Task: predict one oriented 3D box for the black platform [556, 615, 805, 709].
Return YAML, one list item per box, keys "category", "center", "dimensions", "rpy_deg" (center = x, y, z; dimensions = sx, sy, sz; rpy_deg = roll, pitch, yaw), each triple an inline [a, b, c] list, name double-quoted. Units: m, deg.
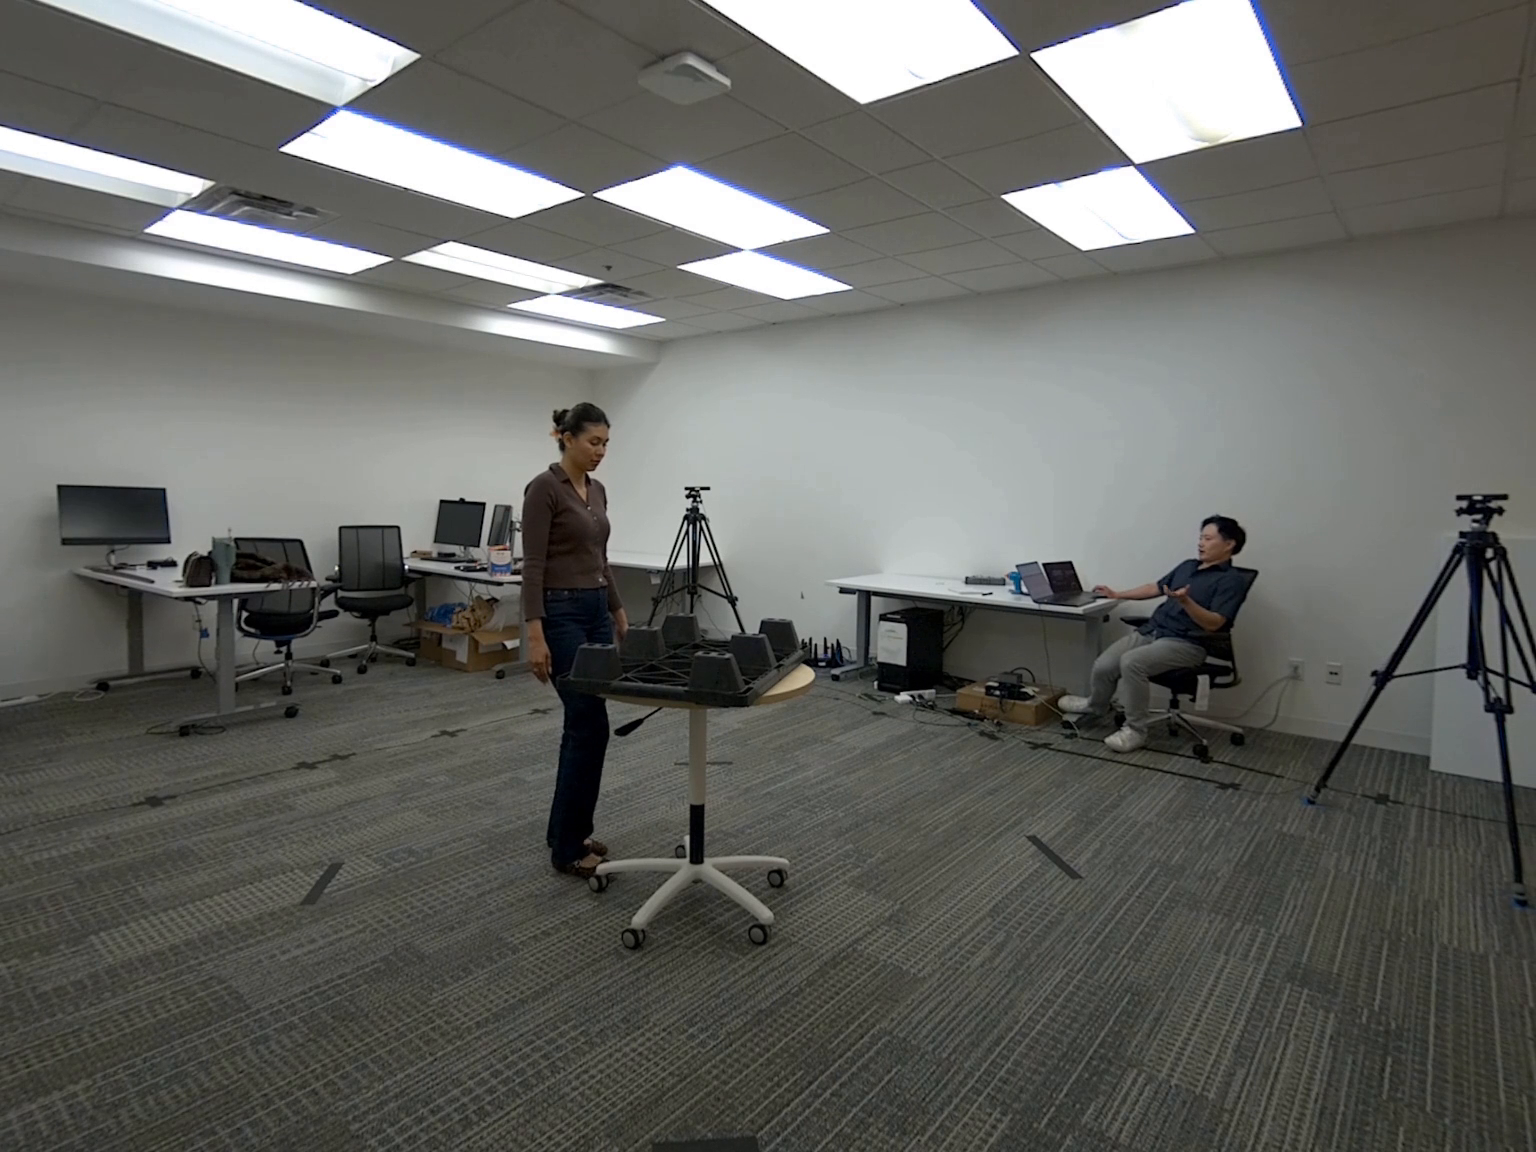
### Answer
- category: "black platform"
  center: [-0.251, 0.249, 2.803]
  dimensions: [0.617, 0.143, 0.794]
  rpy_deg: [2, 6, 16]
